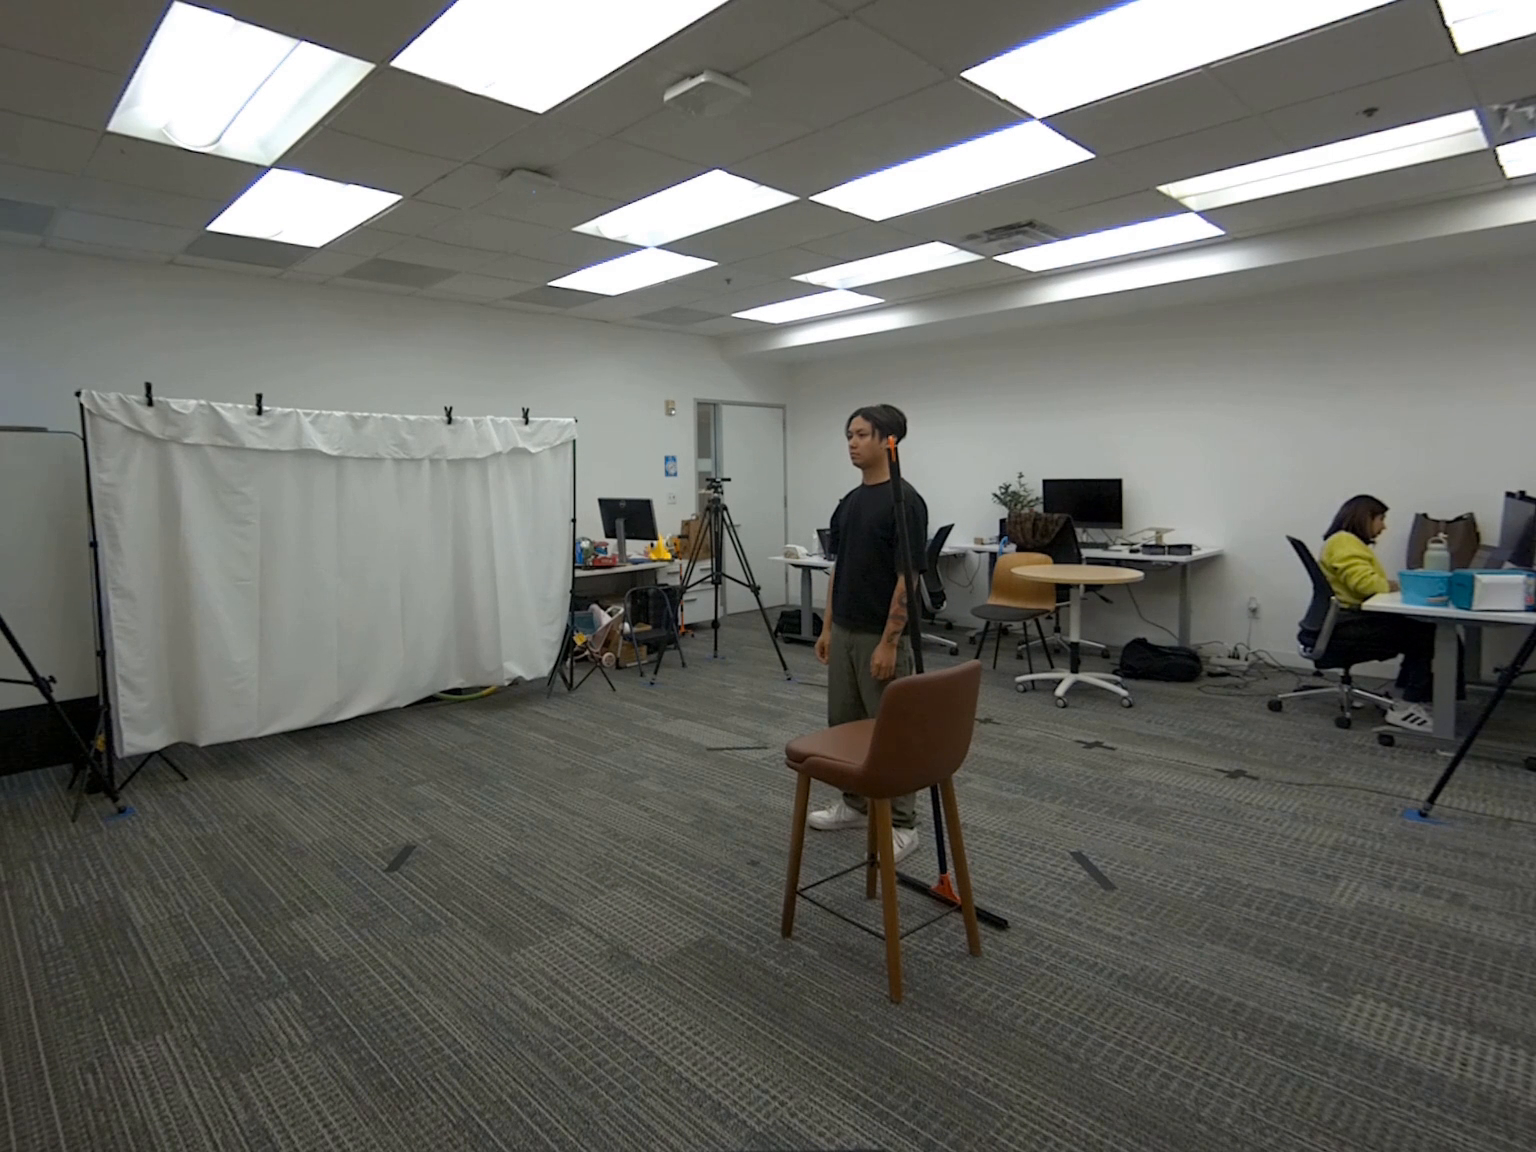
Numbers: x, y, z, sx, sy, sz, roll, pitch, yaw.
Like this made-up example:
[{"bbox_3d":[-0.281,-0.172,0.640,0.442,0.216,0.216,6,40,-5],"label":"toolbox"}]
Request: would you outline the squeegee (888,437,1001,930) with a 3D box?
[{"bbox_3d":[0.473,0.323,2.643,0.052,1.521,0.450,-11,12,-27],"label":"squeegee"}]
